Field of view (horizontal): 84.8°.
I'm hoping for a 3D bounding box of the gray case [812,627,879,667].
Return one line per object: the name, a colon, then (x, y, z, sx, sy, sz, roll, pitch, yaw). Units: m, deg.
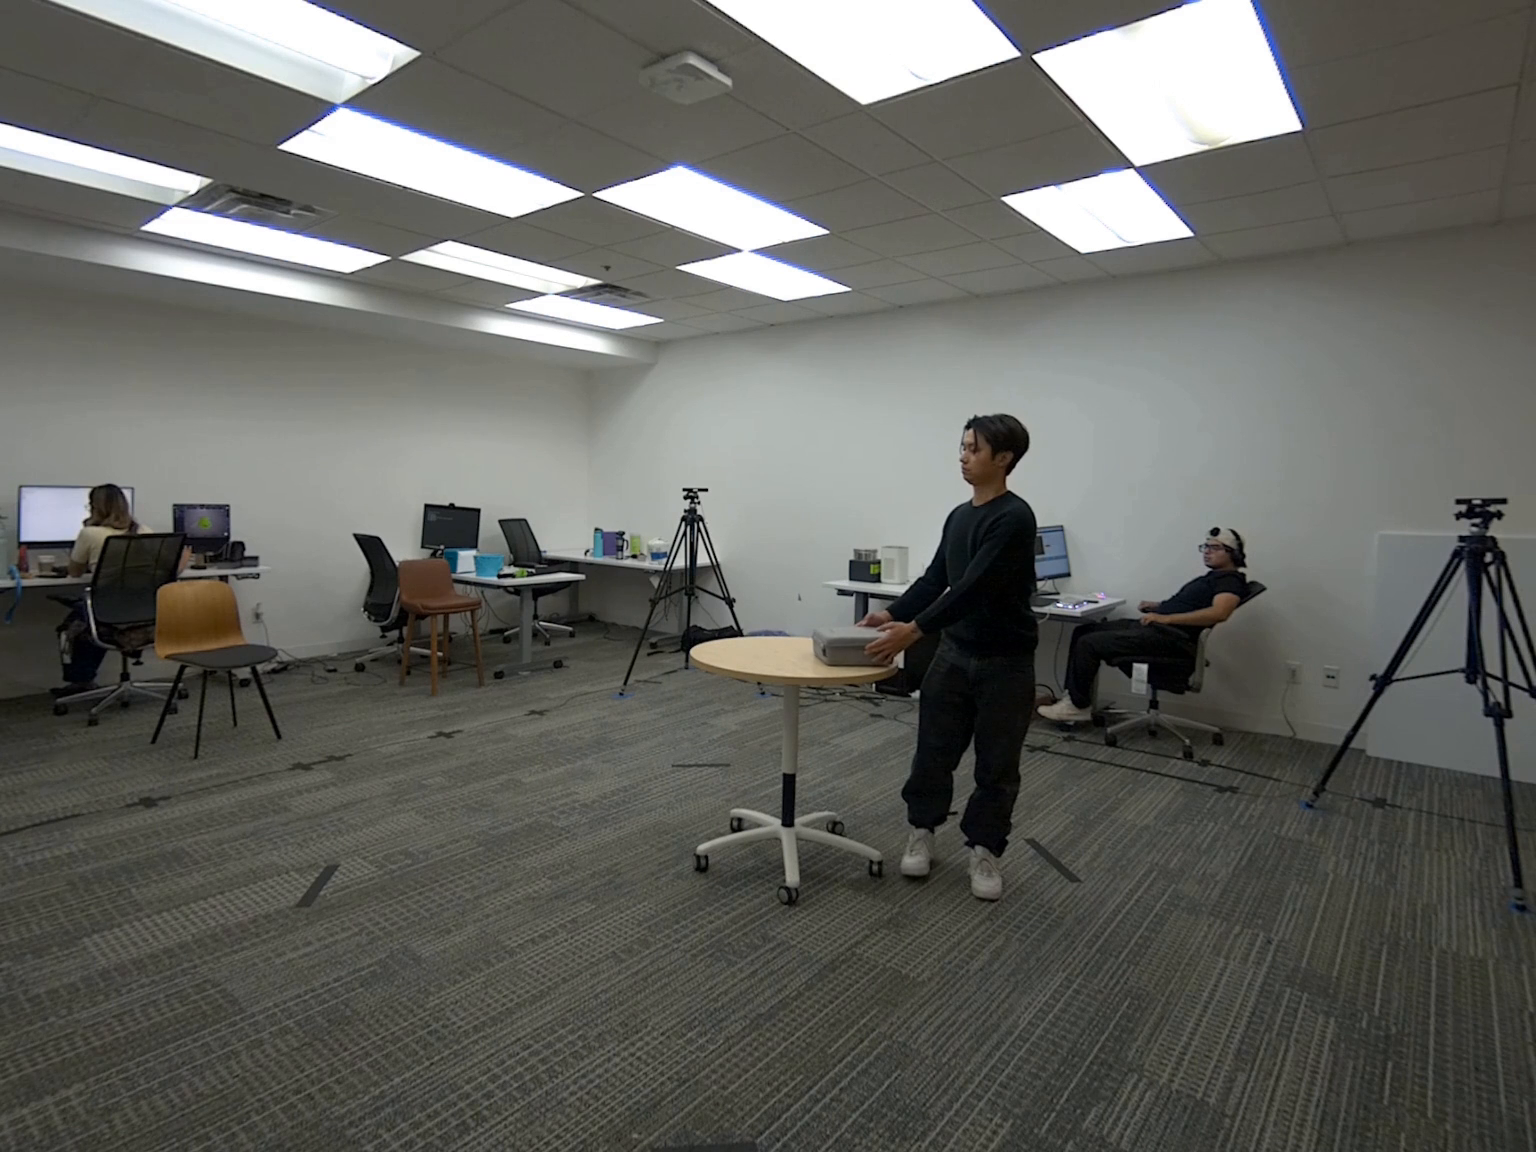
gray case: (0.307, 0.246, 3.096, 0.258, 0.104, 0.260, 0, 5, -9)
